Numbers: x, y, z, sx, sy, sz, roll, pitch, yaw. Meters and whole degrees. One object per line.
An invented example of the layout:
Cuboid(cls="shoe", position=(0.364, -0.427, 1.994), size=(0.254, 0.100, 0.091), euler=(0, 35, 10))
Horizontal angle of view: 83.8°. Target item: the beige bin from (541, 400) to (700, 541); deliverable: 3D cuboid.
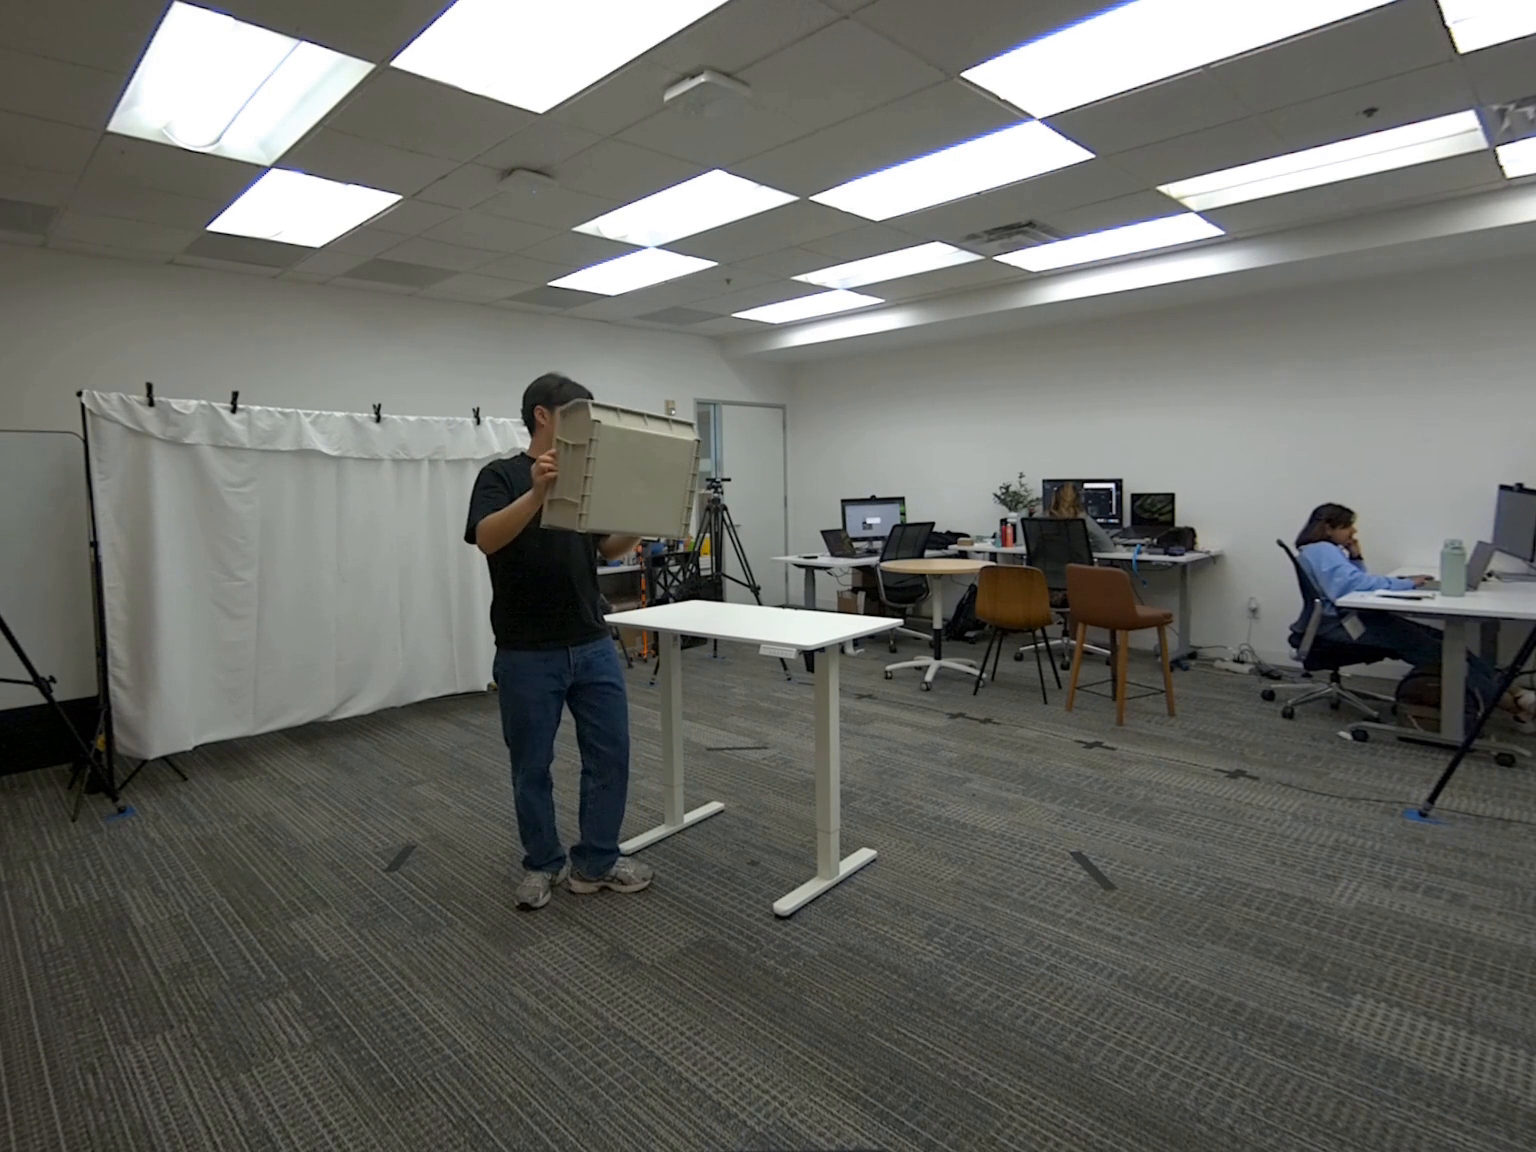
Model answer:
Cuboid(cls="beige bin", position=(-0.420, -0.303, 2.552), size=(0.195, 0.376, 0.409), euler=(11, 4, 44))
